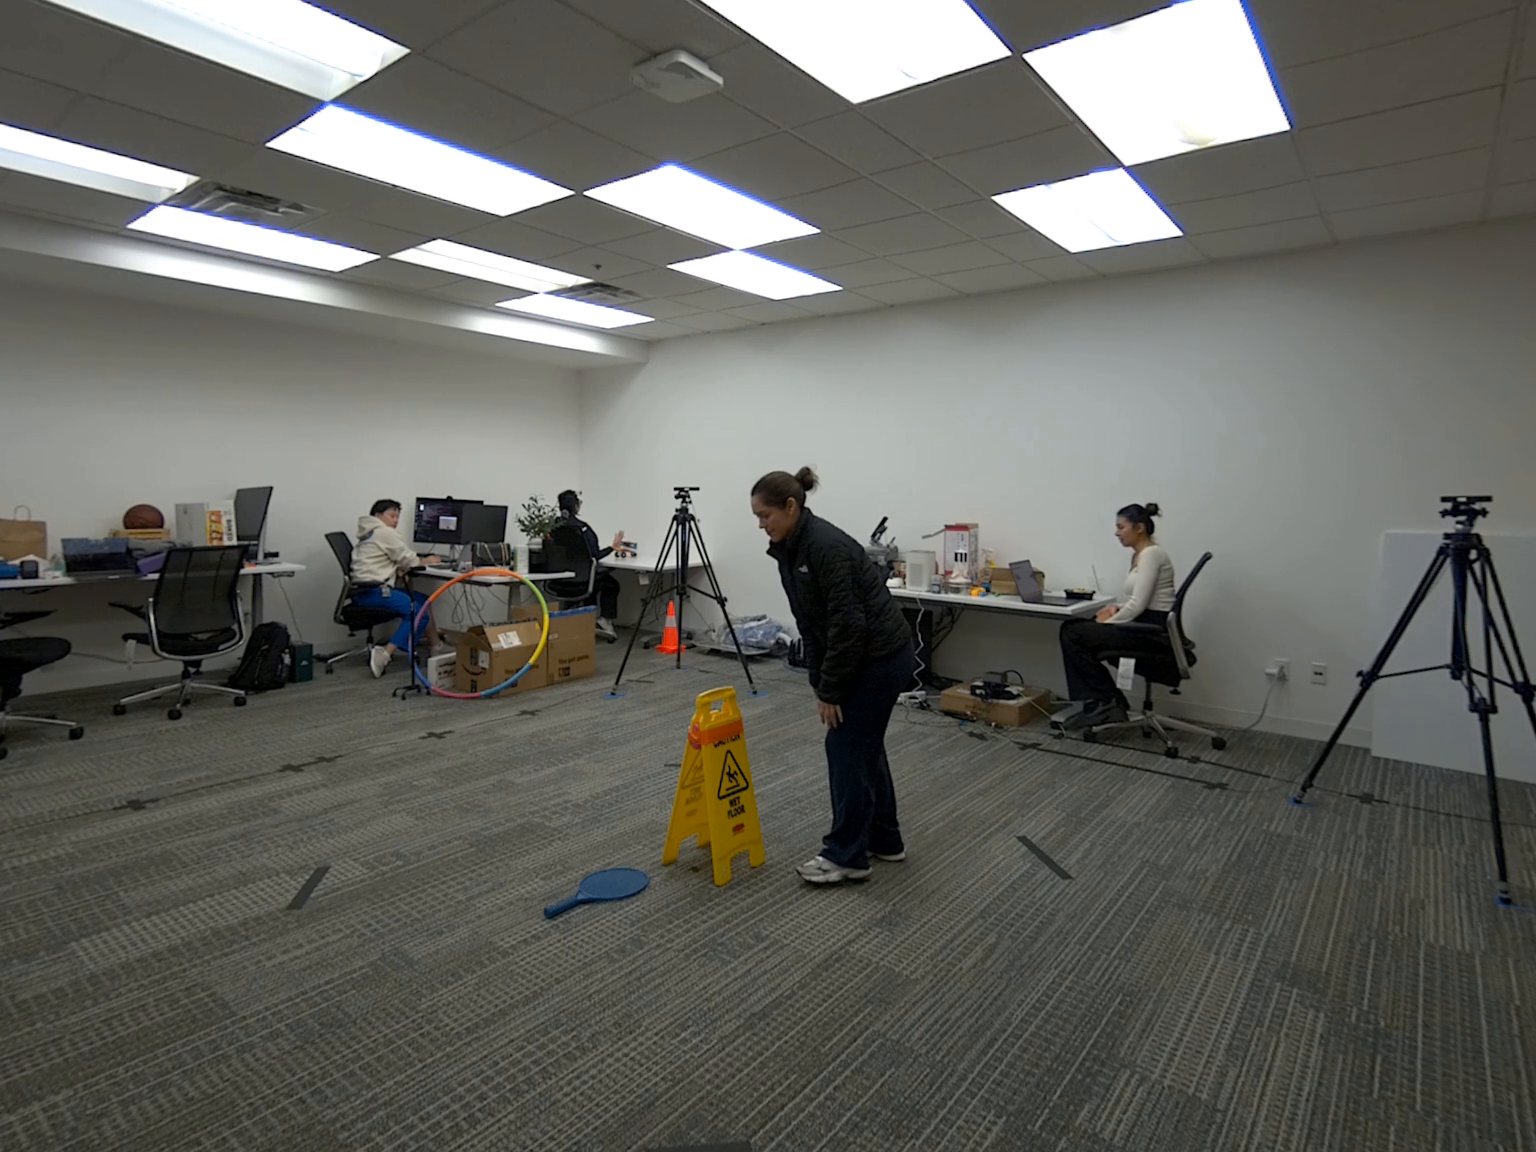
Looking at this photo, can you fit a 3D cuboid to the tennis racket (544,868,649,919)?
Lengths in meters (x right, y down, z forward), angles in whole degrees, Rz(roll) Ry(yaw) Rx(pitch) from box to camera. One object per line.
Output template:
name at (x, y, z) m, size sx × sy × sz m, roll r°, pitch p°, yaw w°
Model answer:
tennis racket at (-0.574, 1.066, 2.917) m, size 0.221 × 0.032 × 0.420 m, roll 4°, pitch 5°, yaw 39°
